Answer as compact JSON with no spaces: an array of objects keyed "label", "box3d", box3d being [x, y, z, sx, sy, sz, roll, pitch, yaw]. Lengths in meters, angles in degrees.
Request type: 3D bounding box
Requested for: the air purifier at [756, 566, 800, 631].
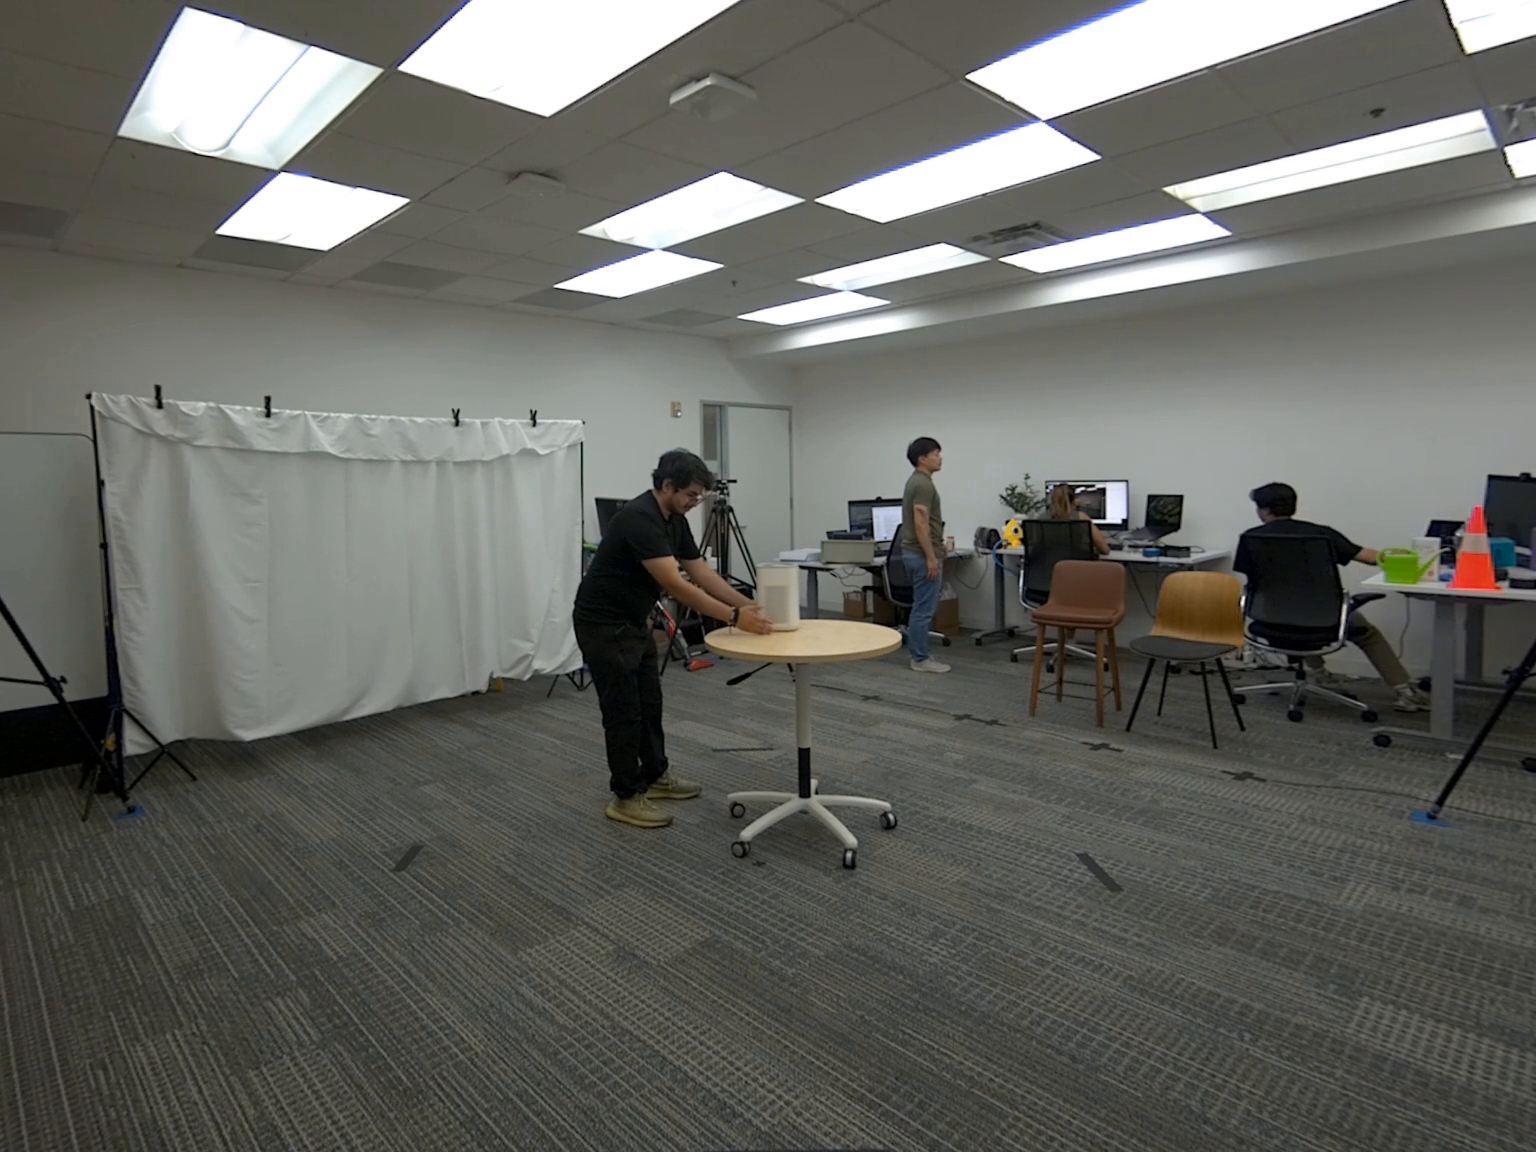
[{"label":"air purifier","box3d":[0.037,0.083,3.507,0.173,0.265,0.170,-1,3,5]}]
